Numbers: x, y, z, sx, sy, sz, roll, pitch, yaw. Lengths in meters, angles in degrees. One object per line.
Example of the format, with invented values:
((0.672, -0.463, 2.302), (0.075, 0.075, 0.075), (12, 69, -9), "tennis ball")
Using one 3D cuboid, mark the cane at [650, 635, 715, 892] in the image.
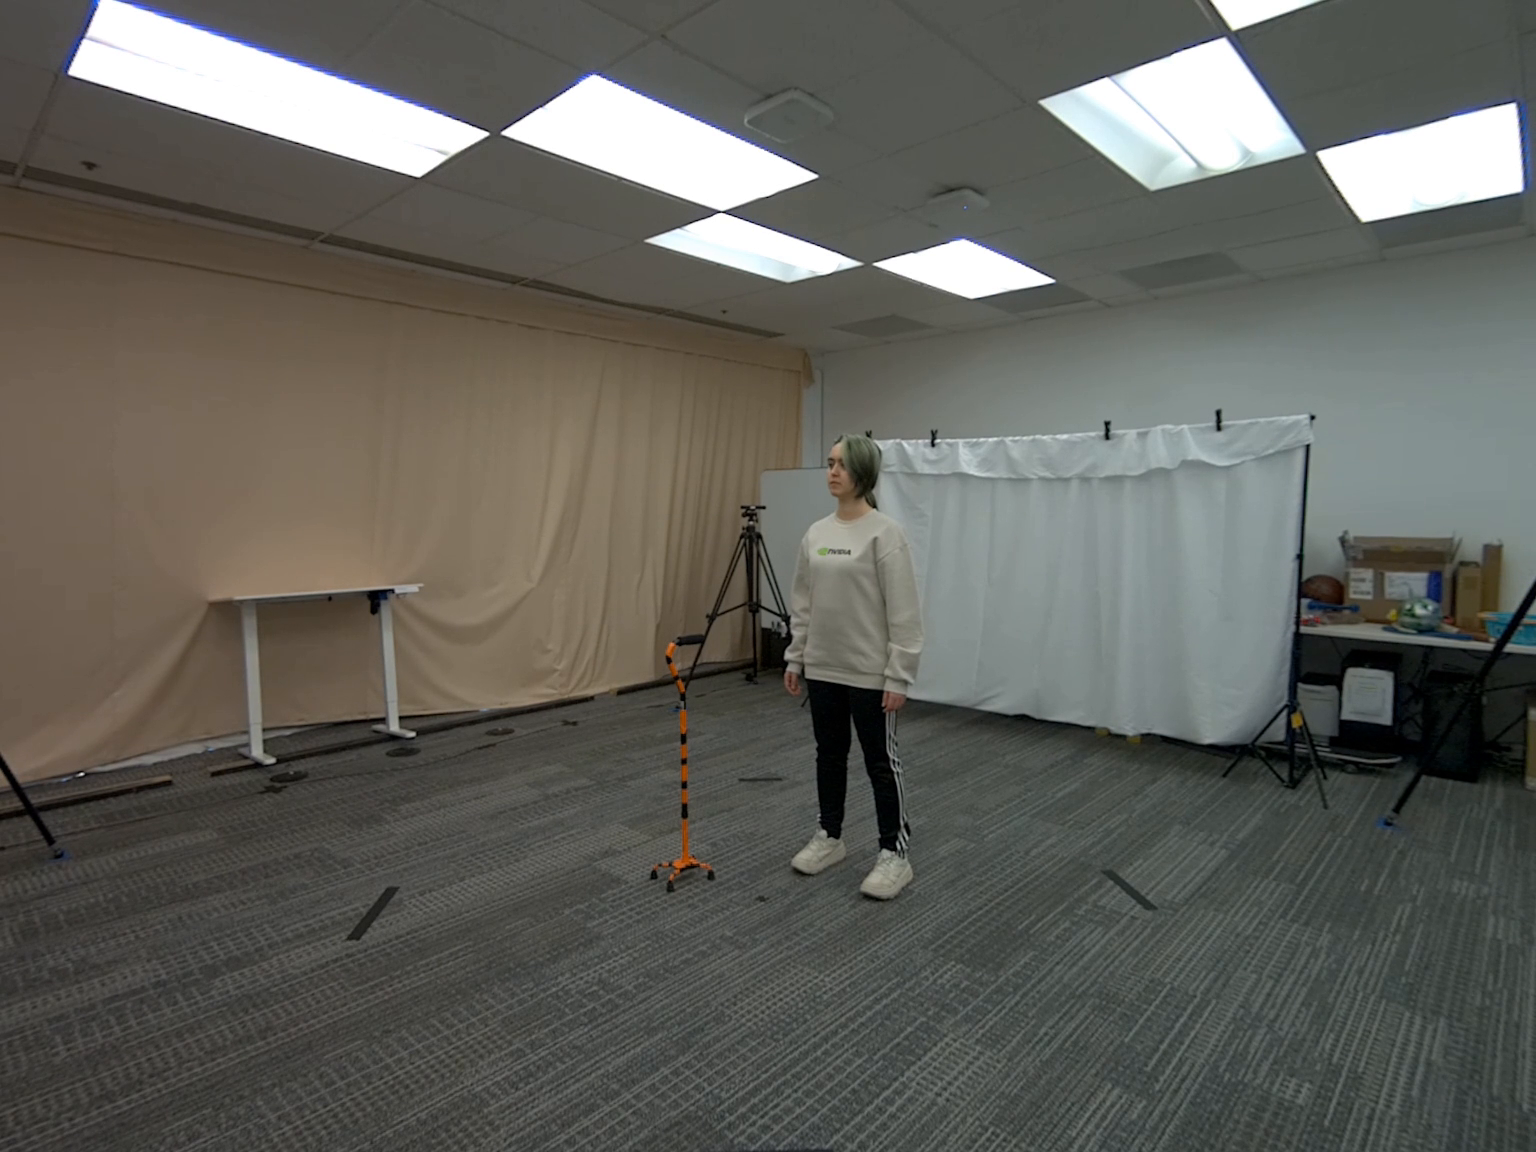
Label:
((-0.322, 0.680, 3.128), (0.200, 0.906, 0.156), (-2, 3, -35), "cane")
